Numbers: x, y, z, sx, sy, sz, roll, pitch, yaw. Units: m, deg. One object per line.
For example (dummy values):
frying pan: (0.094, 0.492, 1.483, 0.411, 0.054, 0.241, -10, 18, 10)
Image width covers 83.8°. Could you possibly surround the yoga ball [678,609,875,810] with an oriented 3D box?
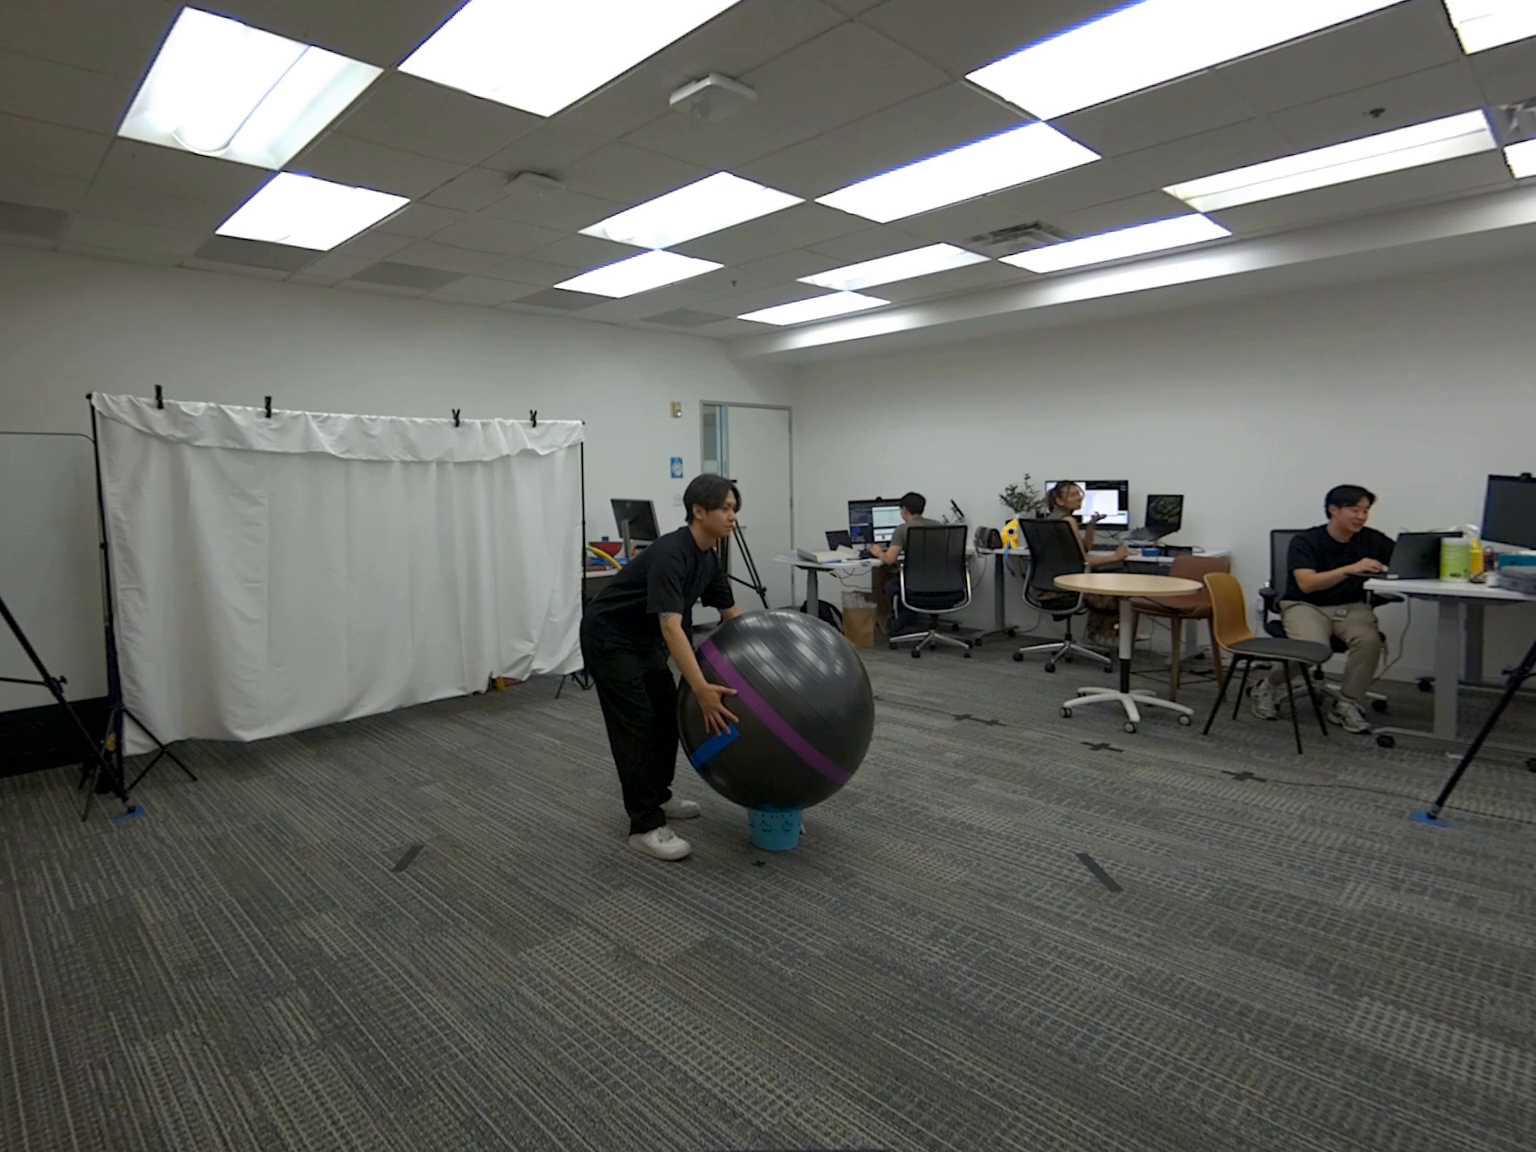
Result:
yoga ball: (0.028, 0.512, 3.292, 0.757, 0.755, 0.762, -1, 5, -2)
